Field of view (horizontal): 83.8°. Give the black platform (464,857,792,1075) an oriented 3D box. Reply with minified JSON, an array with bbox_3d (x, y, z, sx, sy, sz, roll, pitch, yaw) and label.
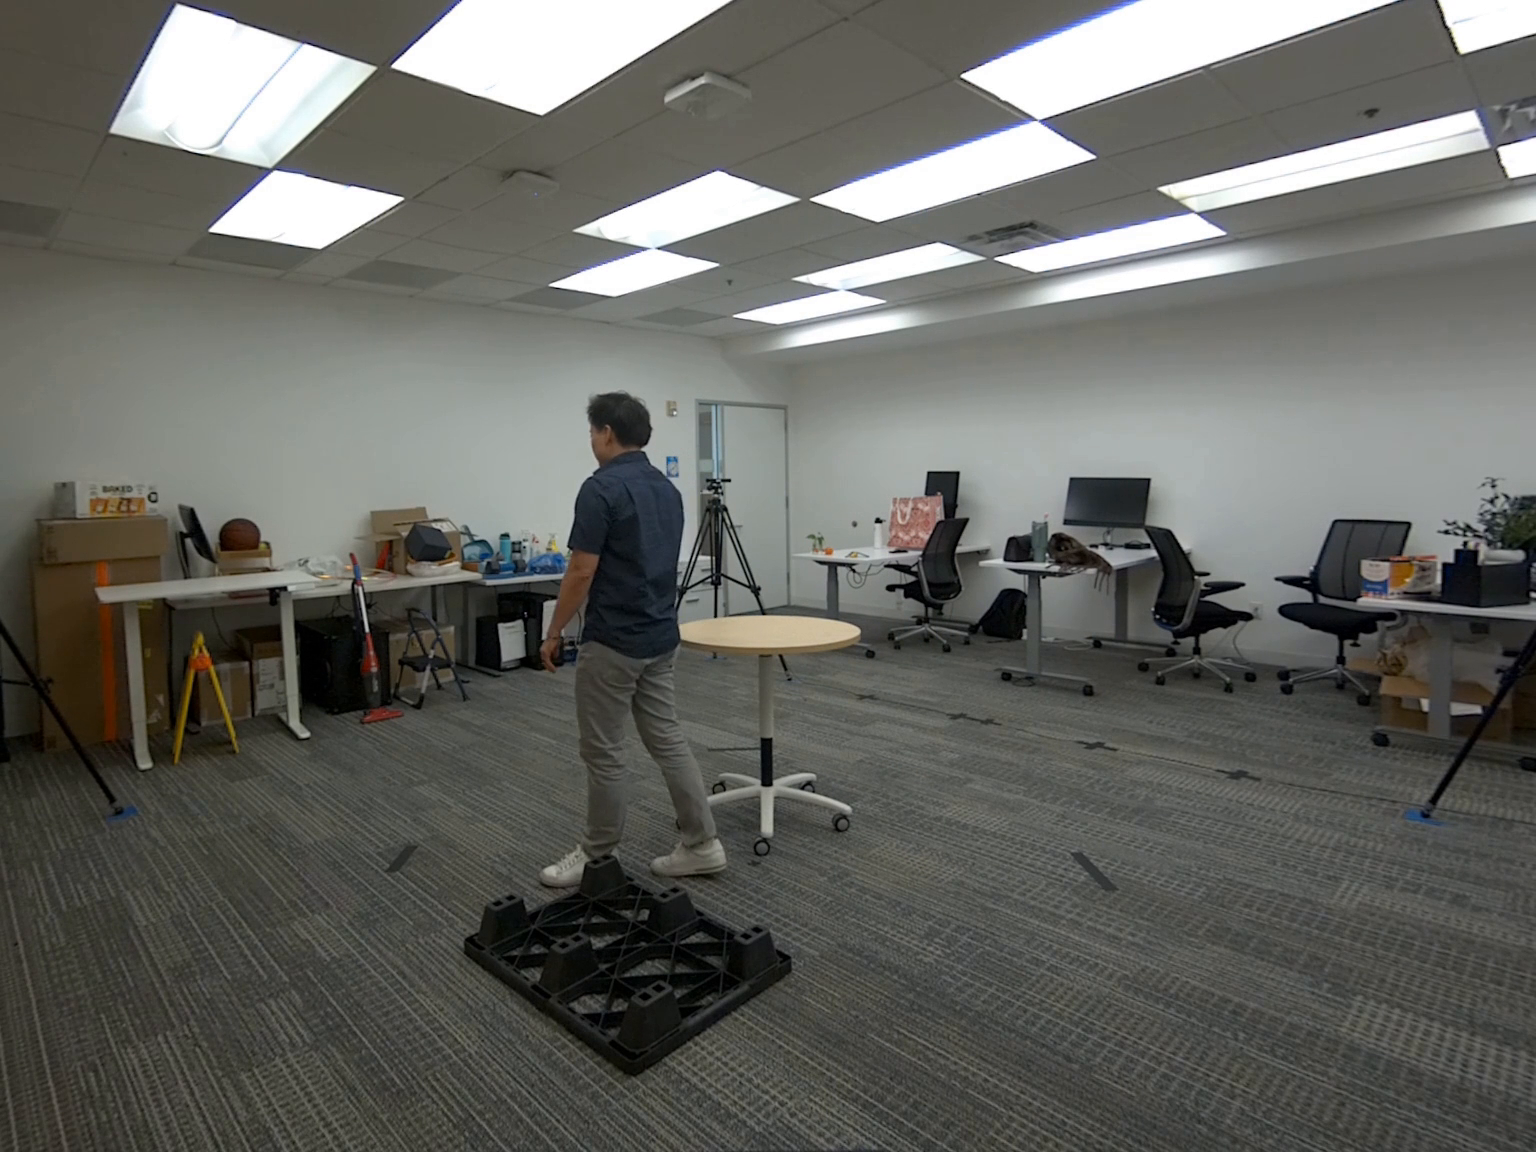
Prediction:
[{"bbox_3d":[-0.423,1.058,2.489,0.830,0.143,0.589,4,8,43],"label":"black platform"}]
